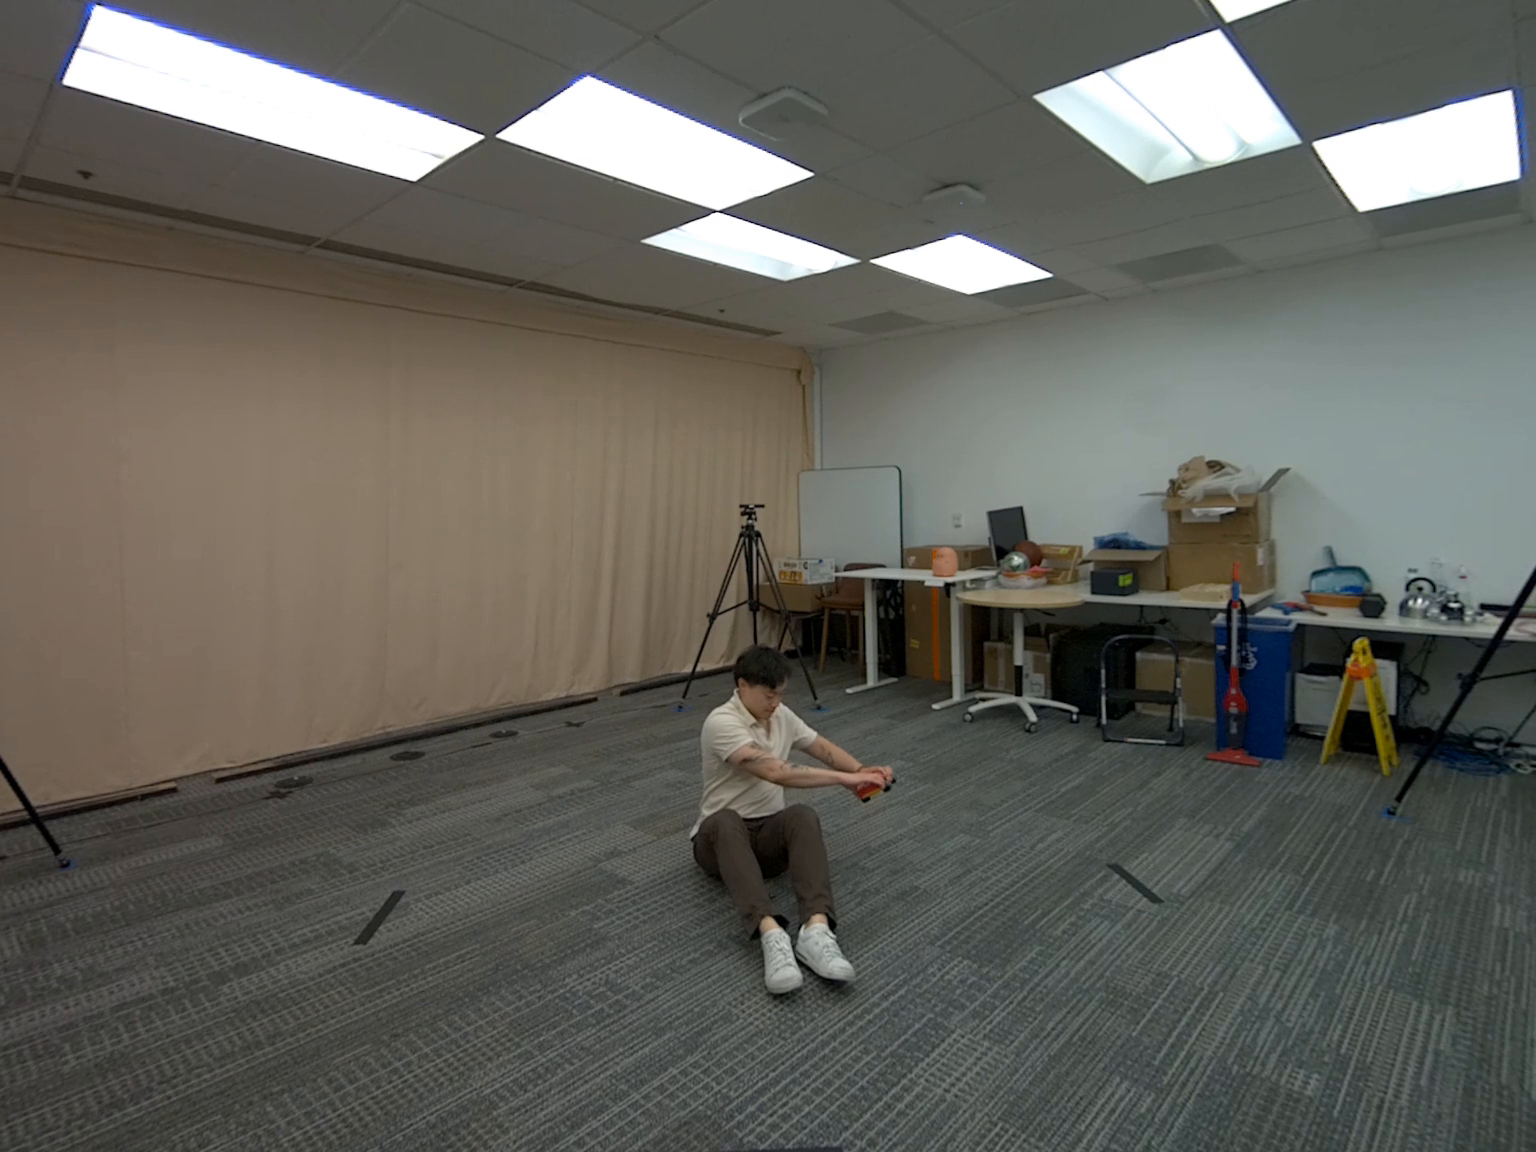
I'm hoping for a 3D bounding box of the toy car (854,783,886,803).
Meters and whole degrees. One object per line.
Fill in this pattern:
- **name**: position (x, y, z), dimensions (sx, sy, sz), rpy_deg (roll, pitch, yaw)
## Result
- **toy car**: position (0.390, 0.782, 3.112), dimensions (0.132, 0.085, 0.247), rpy_deg (-26, -21, 15)
